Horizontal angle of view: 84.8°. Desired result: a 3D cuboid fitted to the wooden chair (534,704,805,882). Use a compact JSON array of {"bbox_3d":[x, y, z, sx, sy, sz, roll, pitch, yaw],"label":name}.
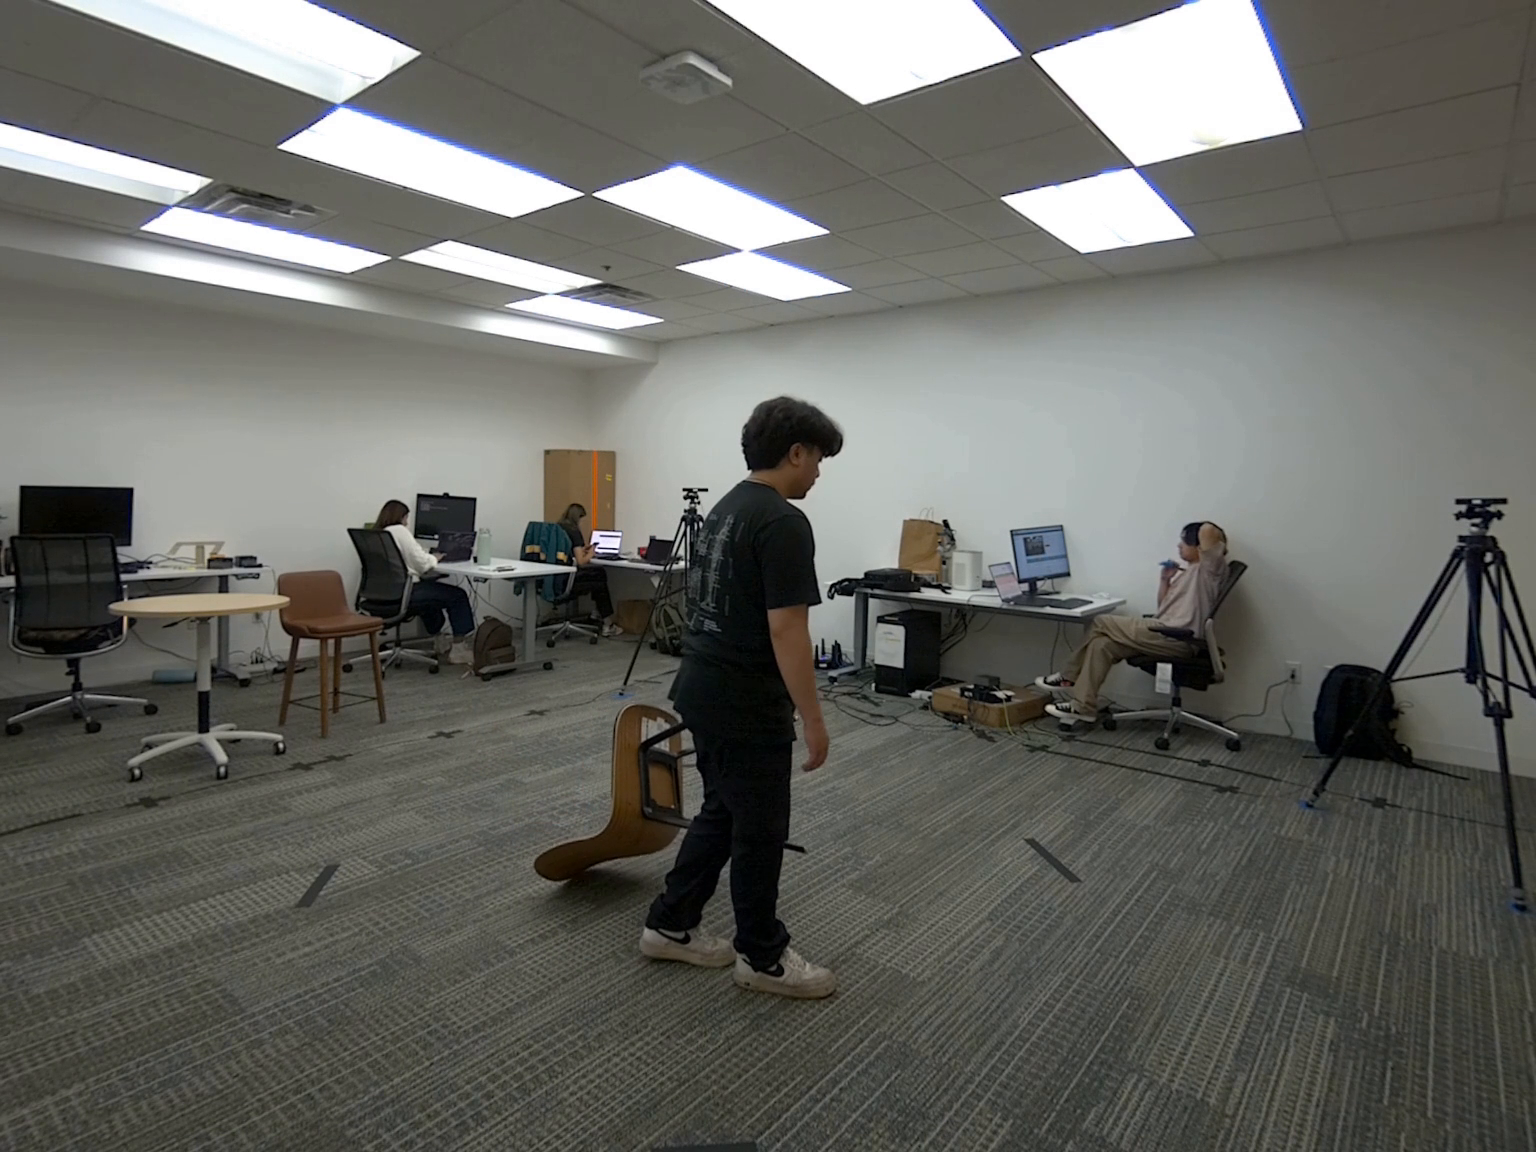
[{"bbox_3d":[-0.373,0.710,2.905,0.890,0.536,0.460,-16,-25,20],"label":"wooden chair"}]
